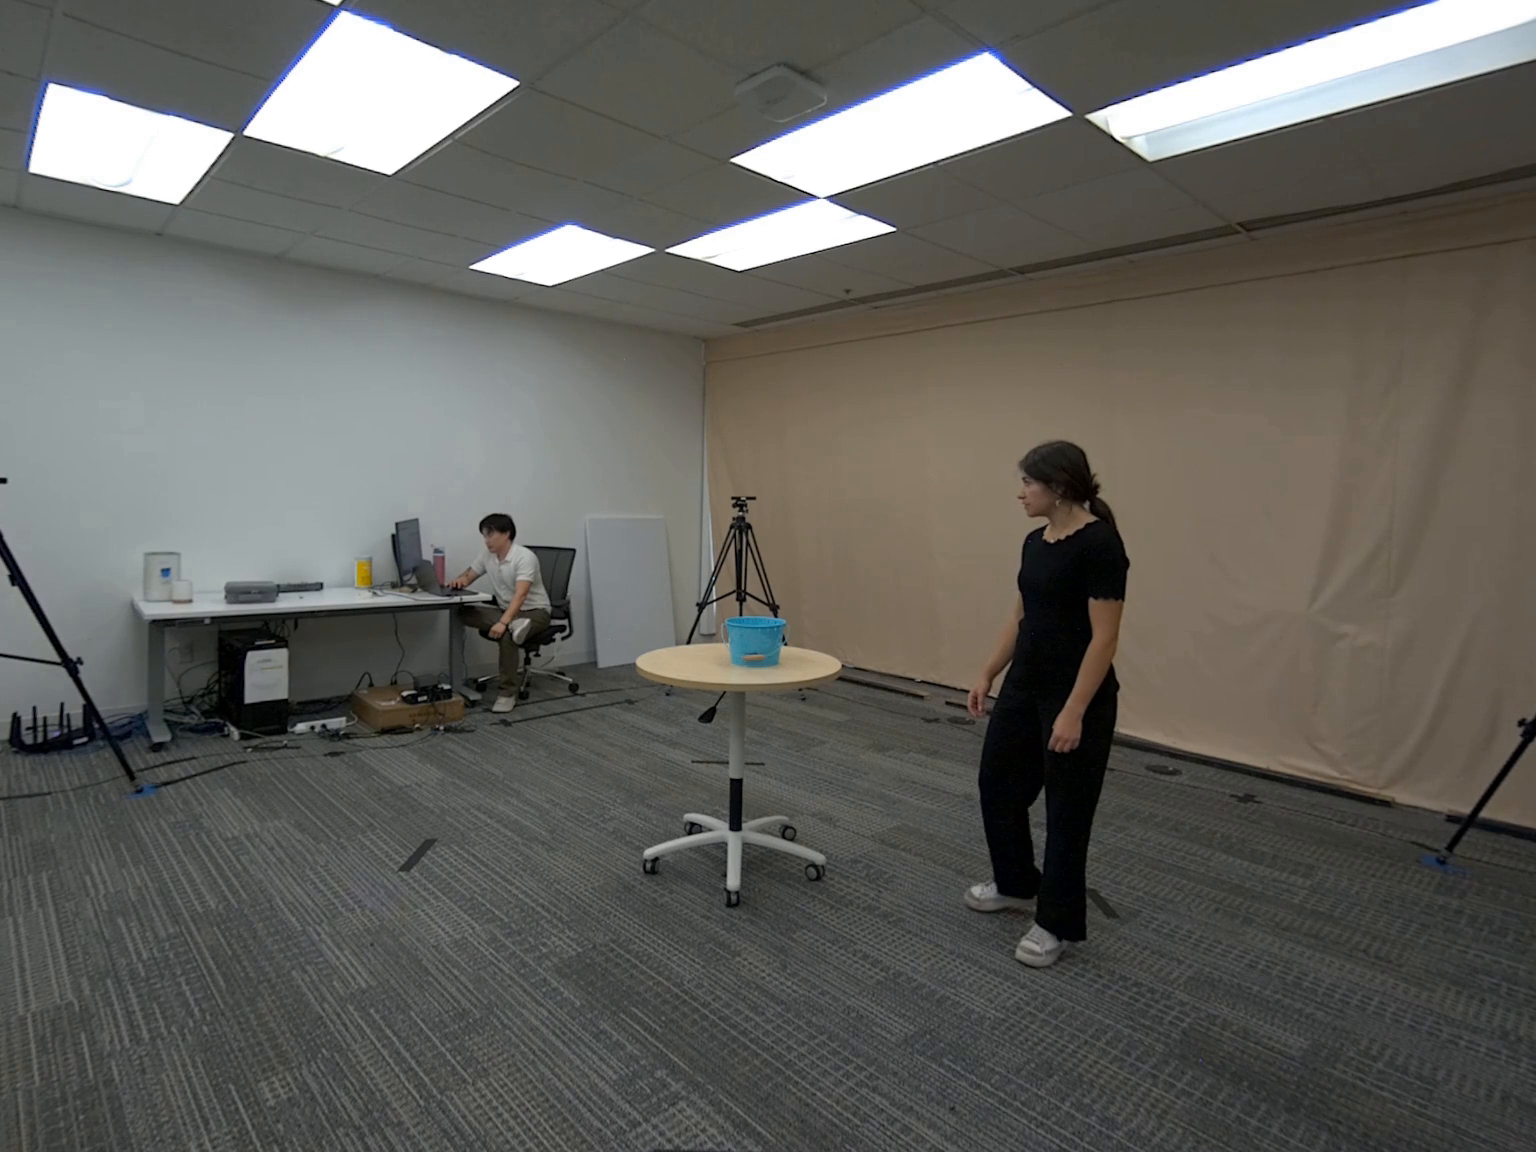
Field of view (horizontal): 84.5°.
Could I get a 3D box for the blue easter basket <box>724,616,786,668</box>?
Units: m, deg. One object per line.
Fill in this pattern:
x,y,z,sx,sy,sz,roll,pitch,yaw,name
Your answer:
-0.061,0.247,3.137,0.243,0.155,0.244,1,5,-1,blue easter basket
